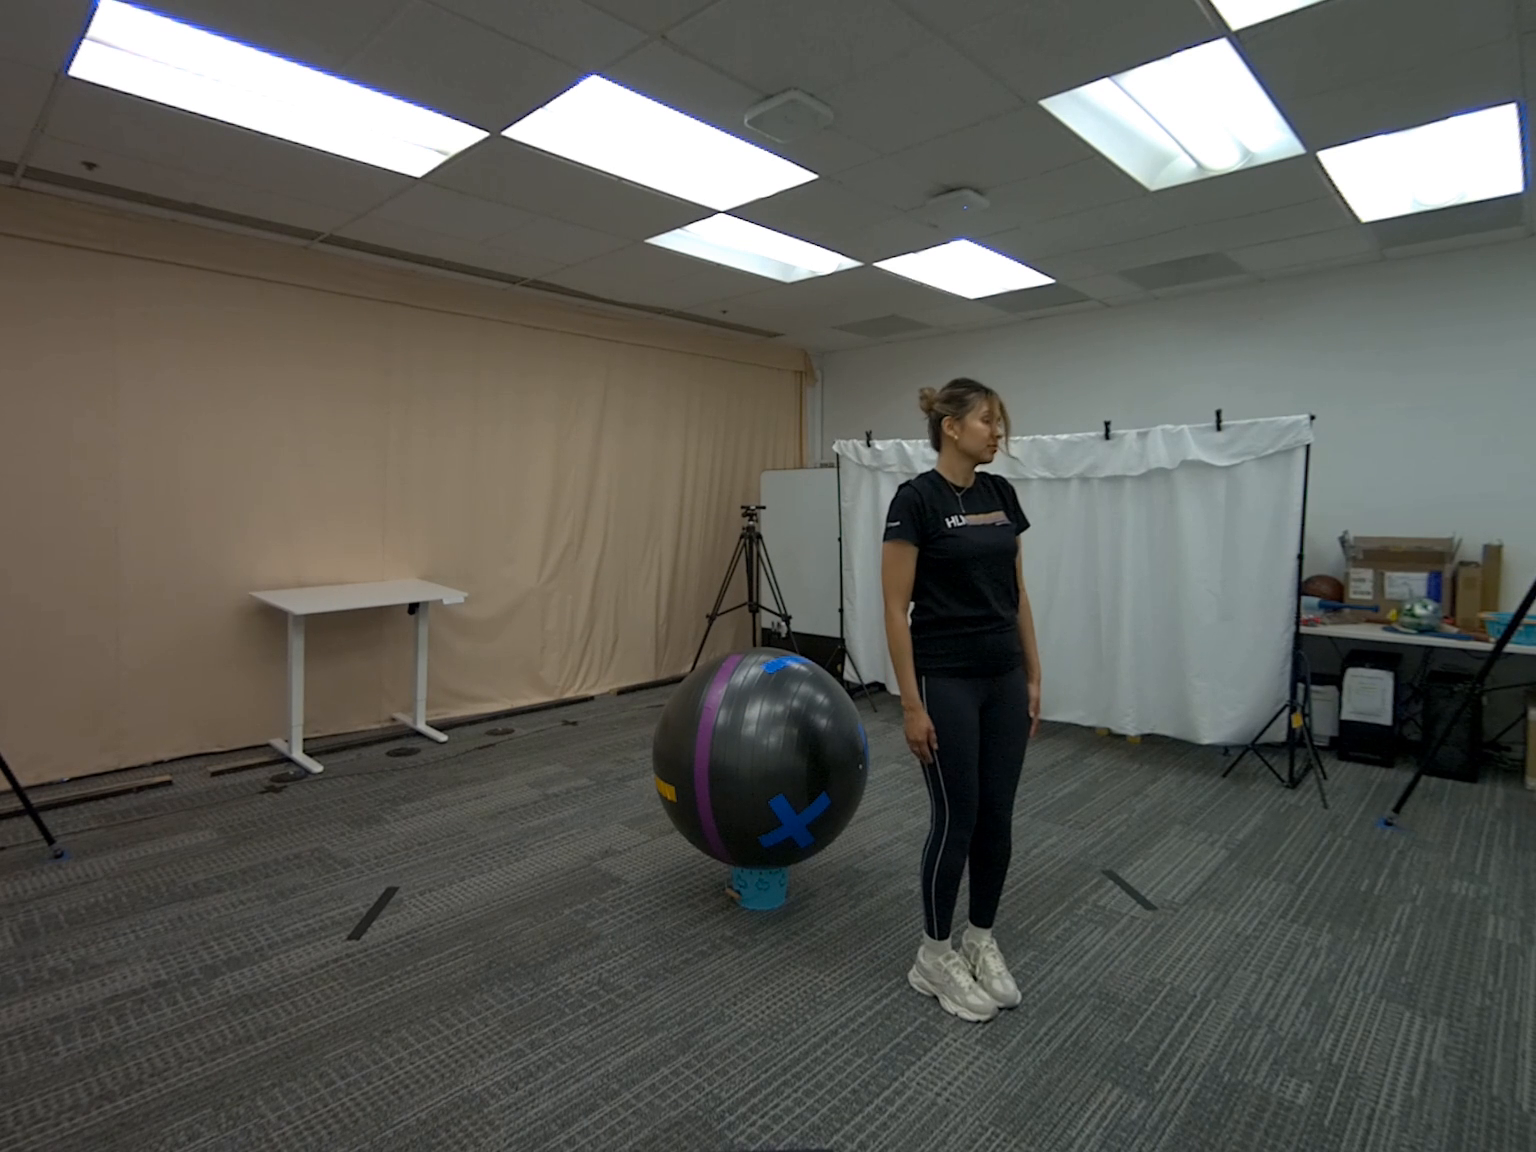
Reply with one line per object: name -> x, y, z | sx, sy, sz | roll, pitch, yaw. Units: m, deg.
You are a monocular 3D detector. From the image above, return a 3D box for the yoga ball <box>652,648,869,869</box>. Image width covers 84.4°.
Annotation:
yoga ball -> -0.022, 0.631, 2.972 | 0.757, 0.756, 0.760 | 0, 4, -2
